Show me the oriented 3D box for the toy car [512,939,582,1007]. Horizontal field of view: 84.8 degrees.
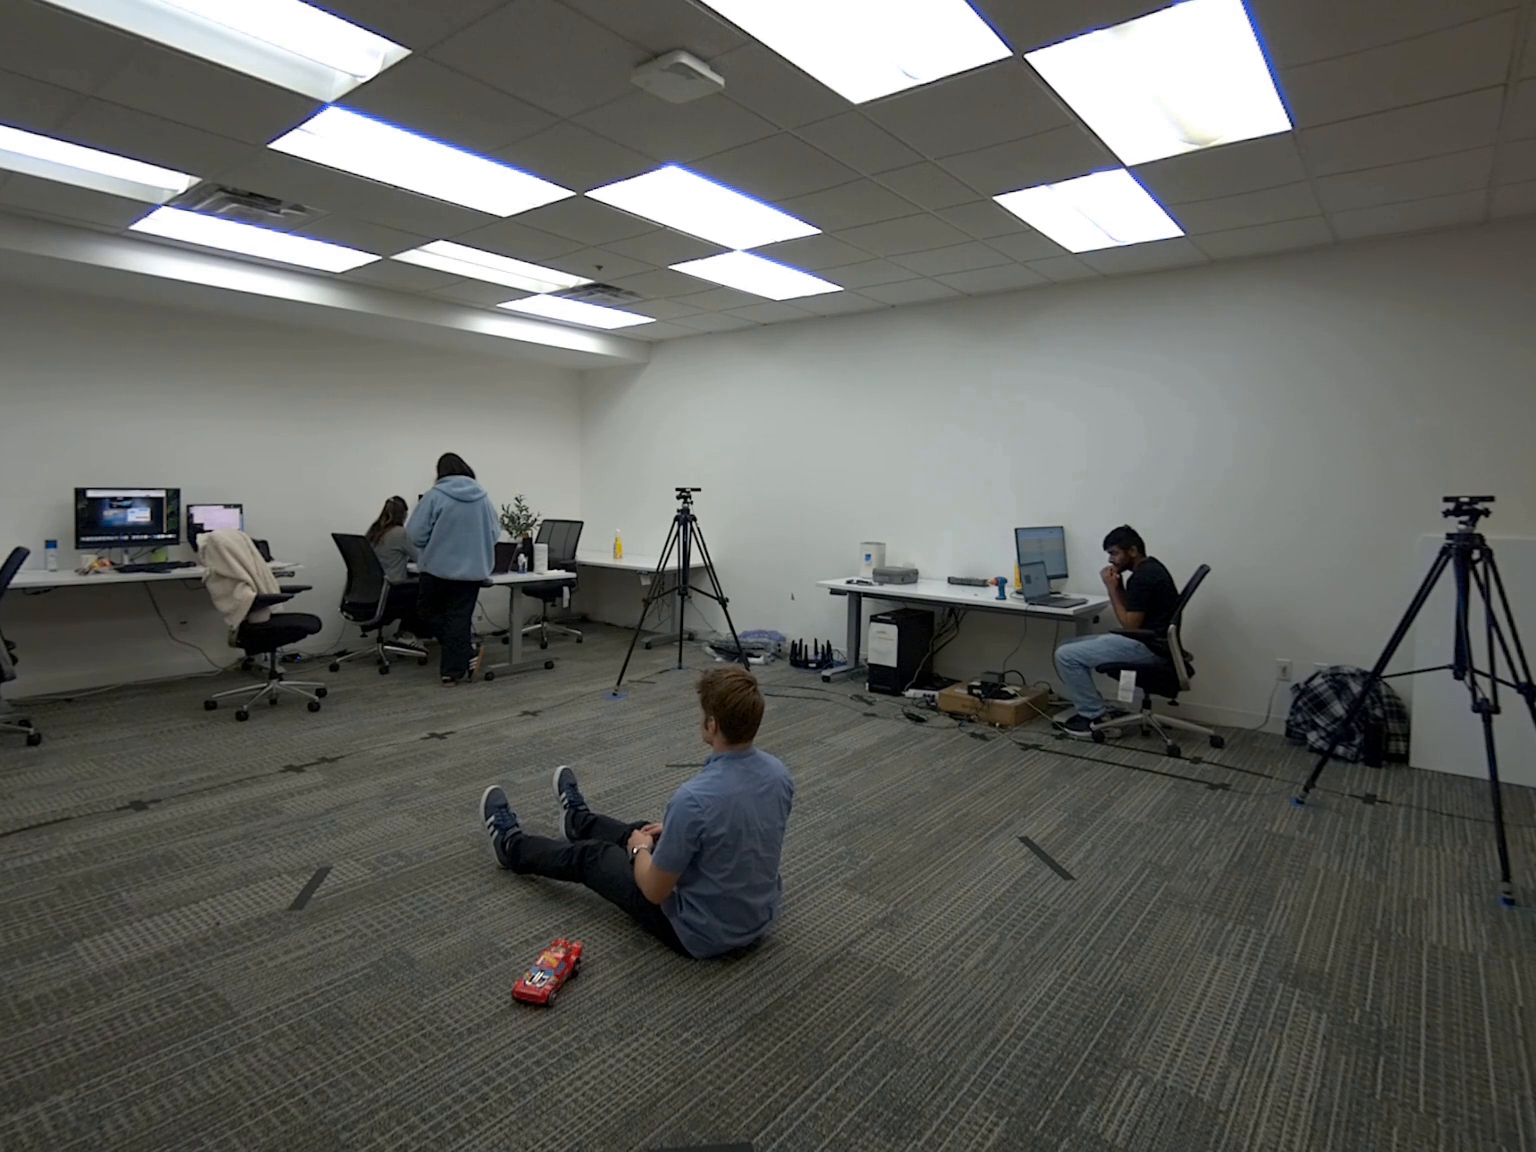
[{"bbox_3d":[-0.617,1.101,2.375,0.132,0.082,0.255,1,19,13],"label":"toy car"}]
